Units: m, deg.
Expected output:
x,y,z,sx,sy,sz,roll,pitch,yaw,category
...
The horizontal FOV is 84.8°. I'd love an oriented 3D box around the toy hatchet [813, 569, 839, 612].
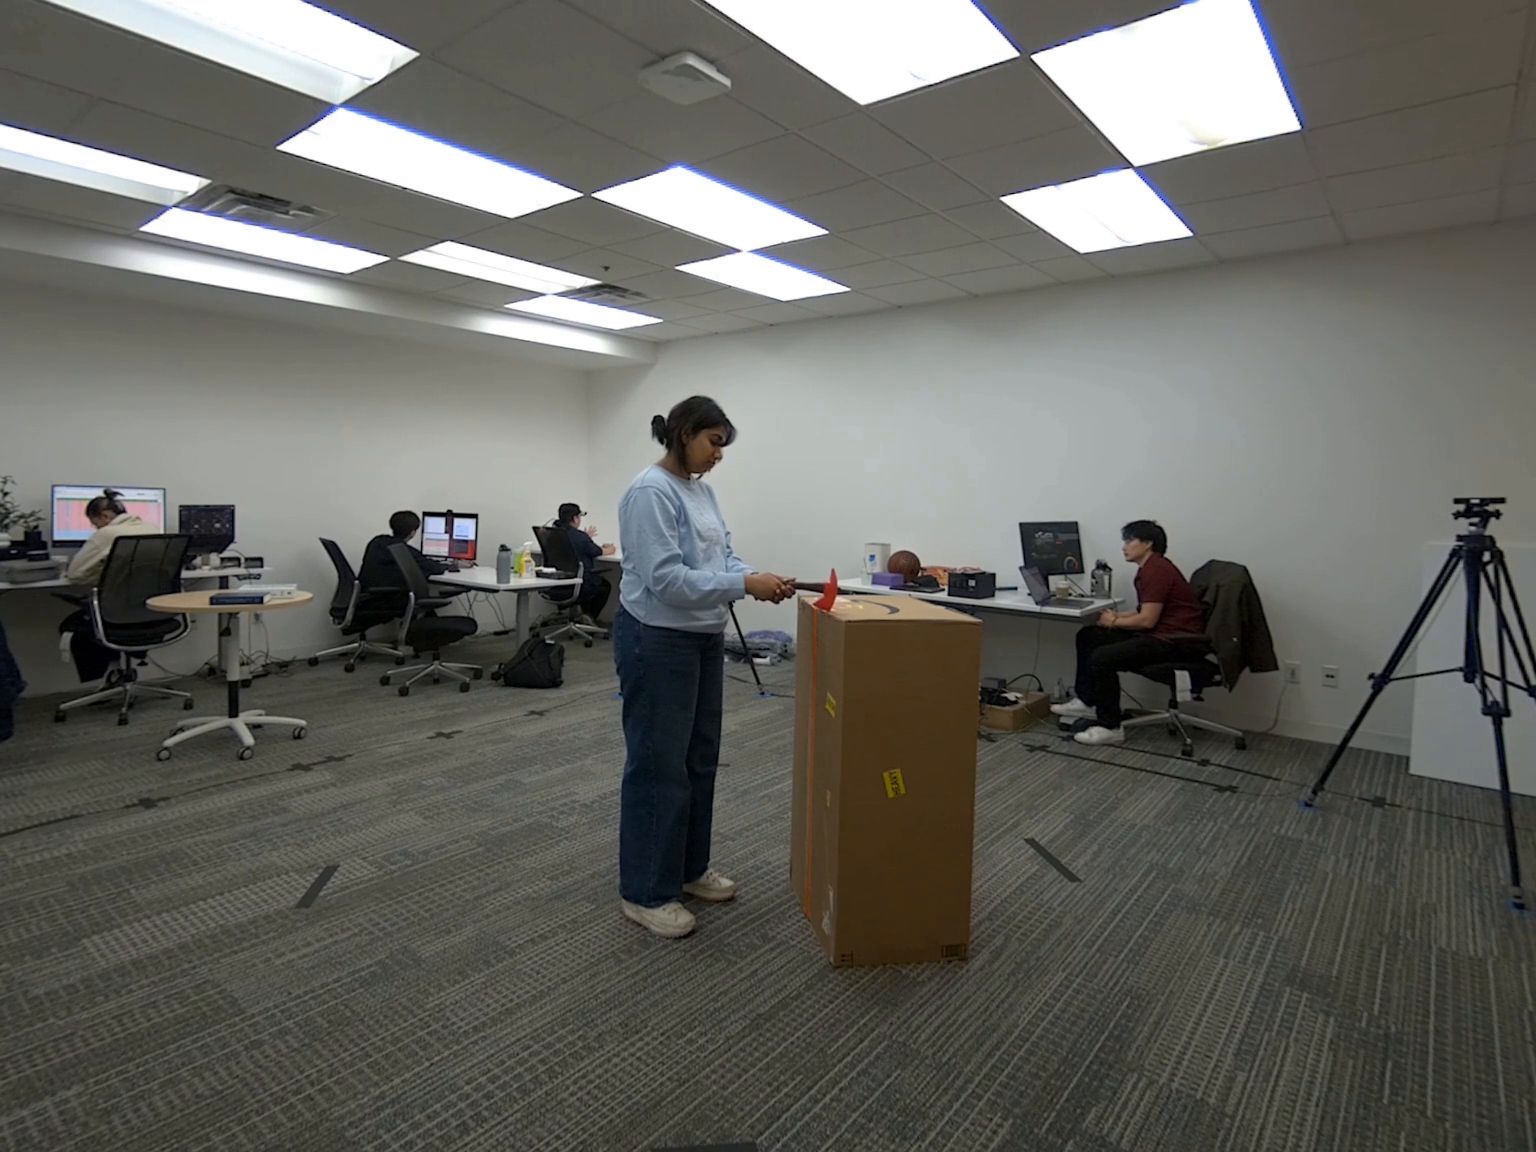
x,y,z,sx,sy,sz,roll,pitch,yaw,category
0.086,0.063,2.633,0.273,0.130,0.029,-11,7,14,toy hatchet
